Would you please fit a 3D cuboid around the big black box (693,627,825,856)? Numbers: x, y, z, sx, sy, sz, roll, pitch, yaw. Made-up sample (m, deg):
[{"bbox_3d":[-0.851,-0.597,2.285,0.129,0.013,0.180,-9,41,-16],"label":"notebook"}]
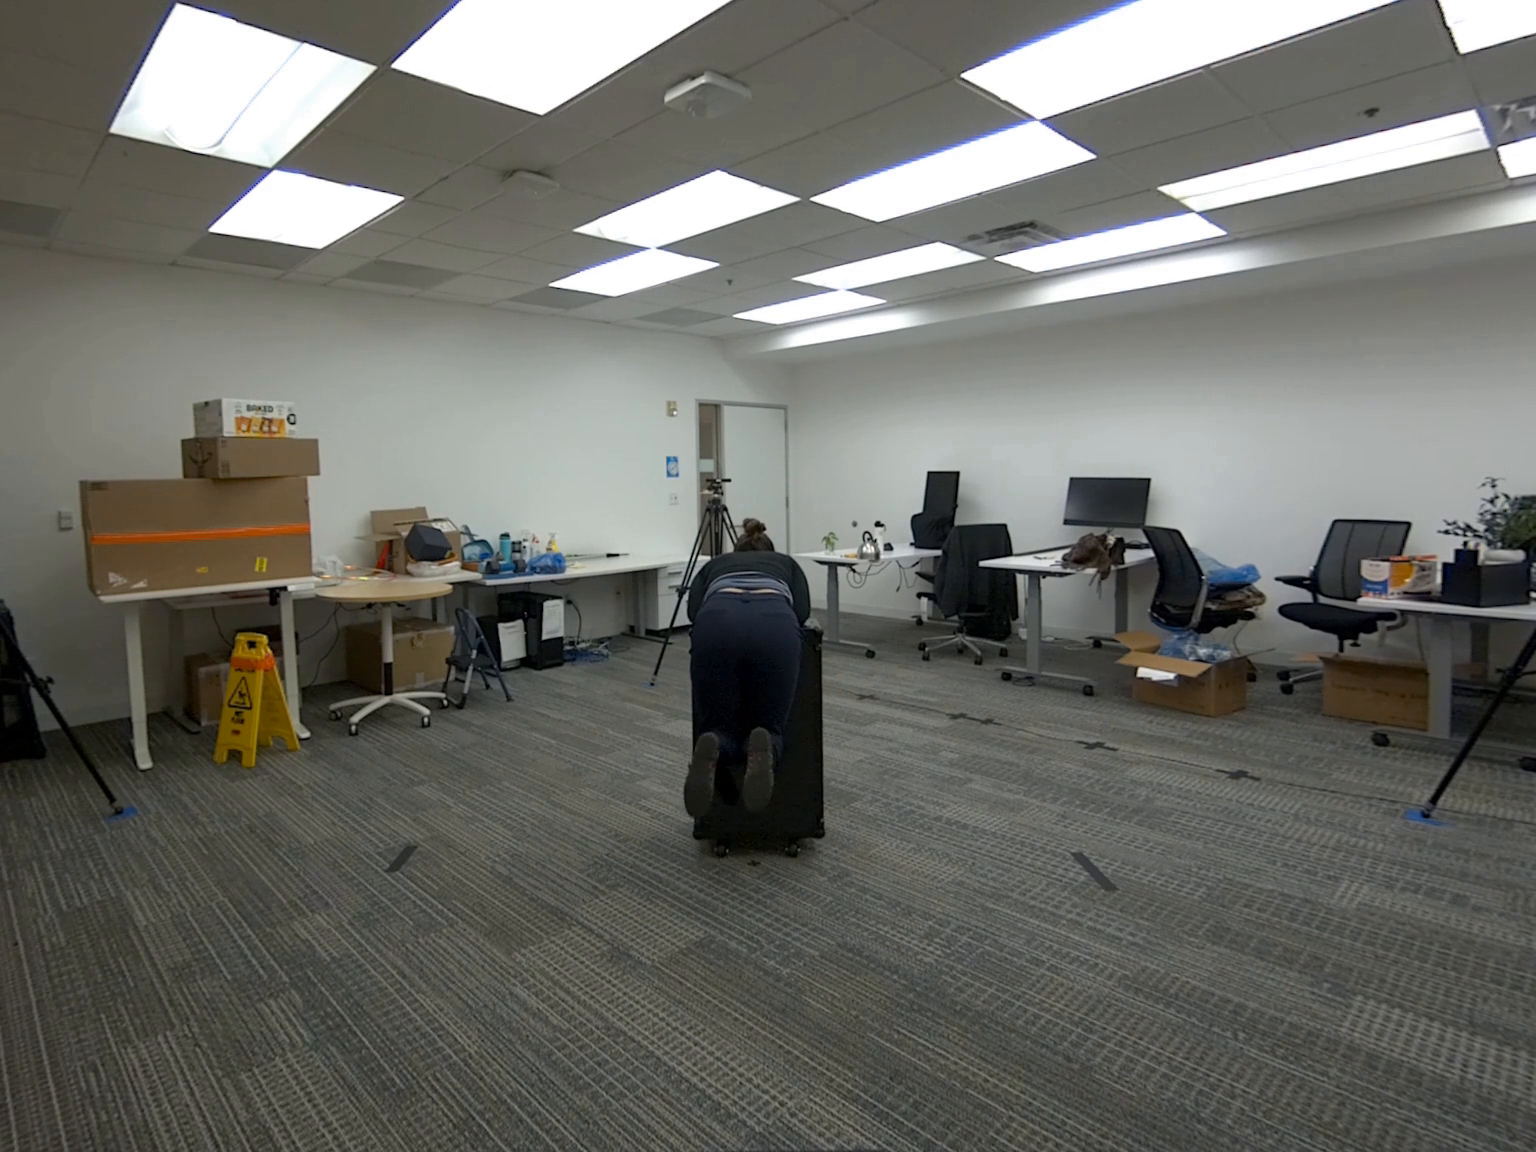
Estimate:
[{"bbox_3d":[-0.040,0.603,3.283,0.522,0.858,0.398,0,5,0],"label":"big black box"}]
